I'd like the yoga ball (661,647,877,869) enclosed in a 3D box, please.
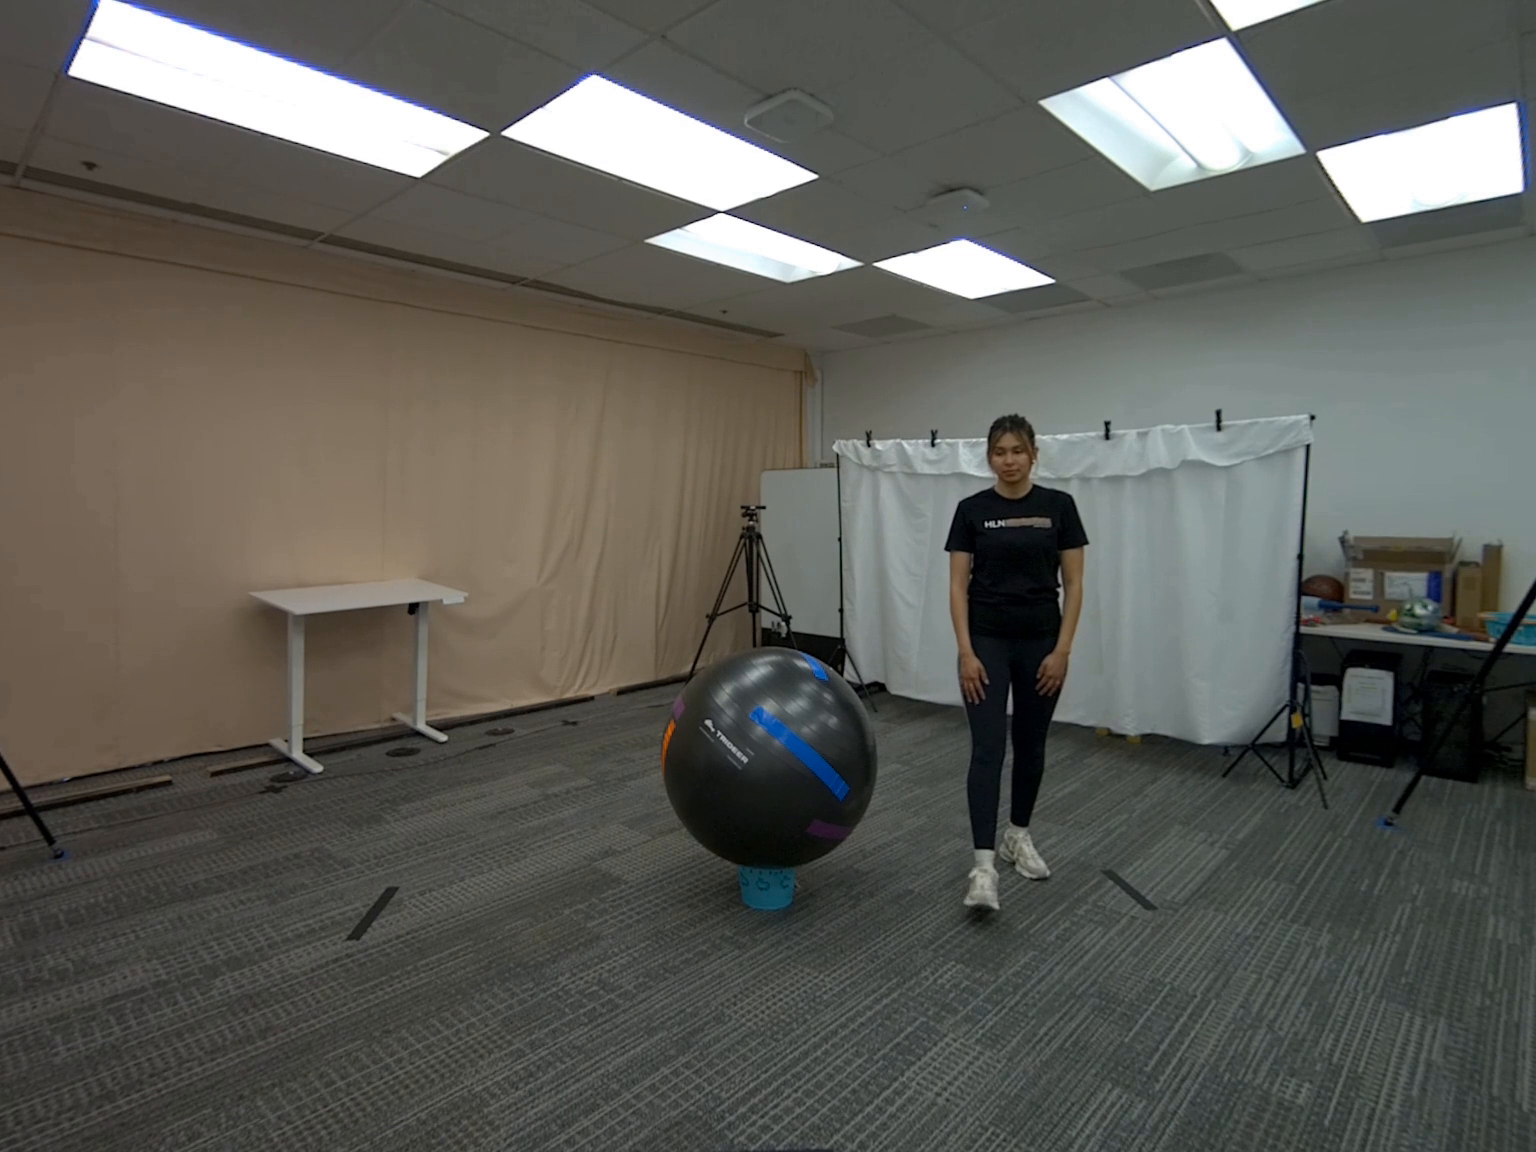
[{"bbox_3d":[-0.004,0.641,2.963,0.757,0.756,0.760,0,4,-2],"label":"yoga ball"}]
